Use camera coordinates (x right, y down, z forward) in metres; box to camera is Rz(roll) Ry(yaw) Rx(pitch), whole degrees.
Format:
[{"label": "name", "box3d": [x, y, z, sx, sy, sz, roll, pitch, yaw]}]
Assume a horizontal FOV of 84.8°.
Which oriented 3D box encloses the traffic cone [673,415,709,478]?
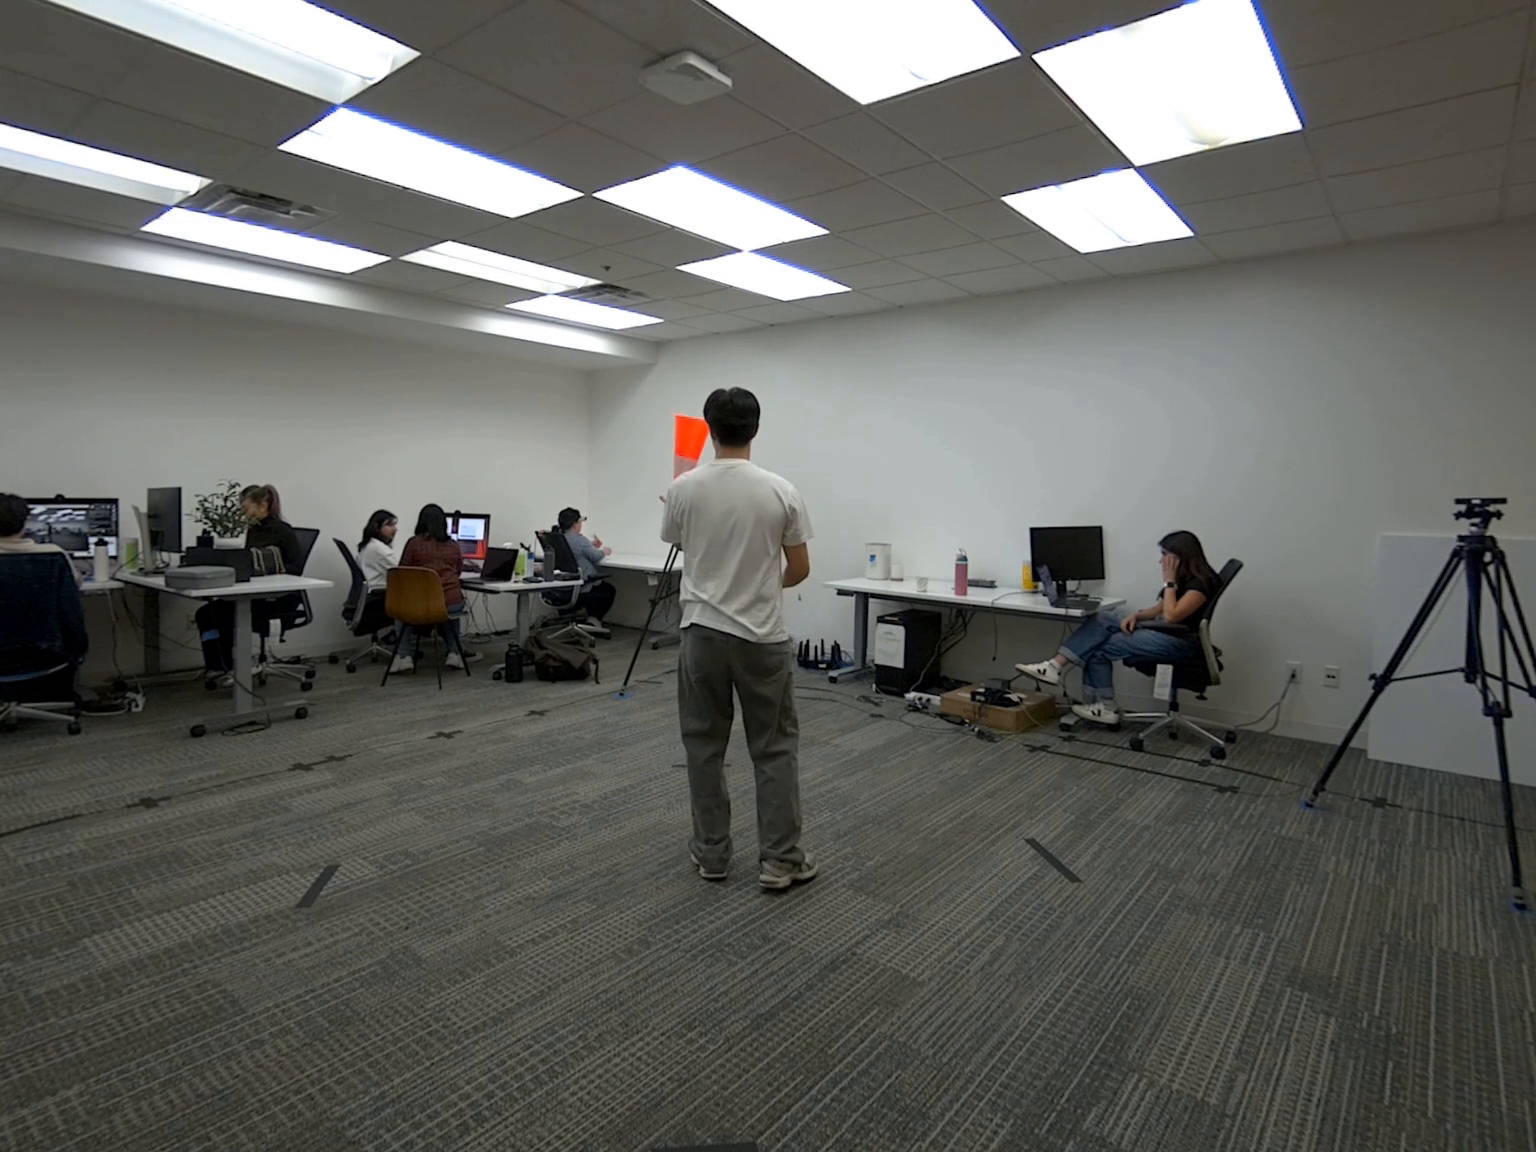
[{"label": "traffic cone", "box3d": [-0.337, -0.472, 3.539, 0.202, 0.382, 0.208, 9, 6, -8]}]
